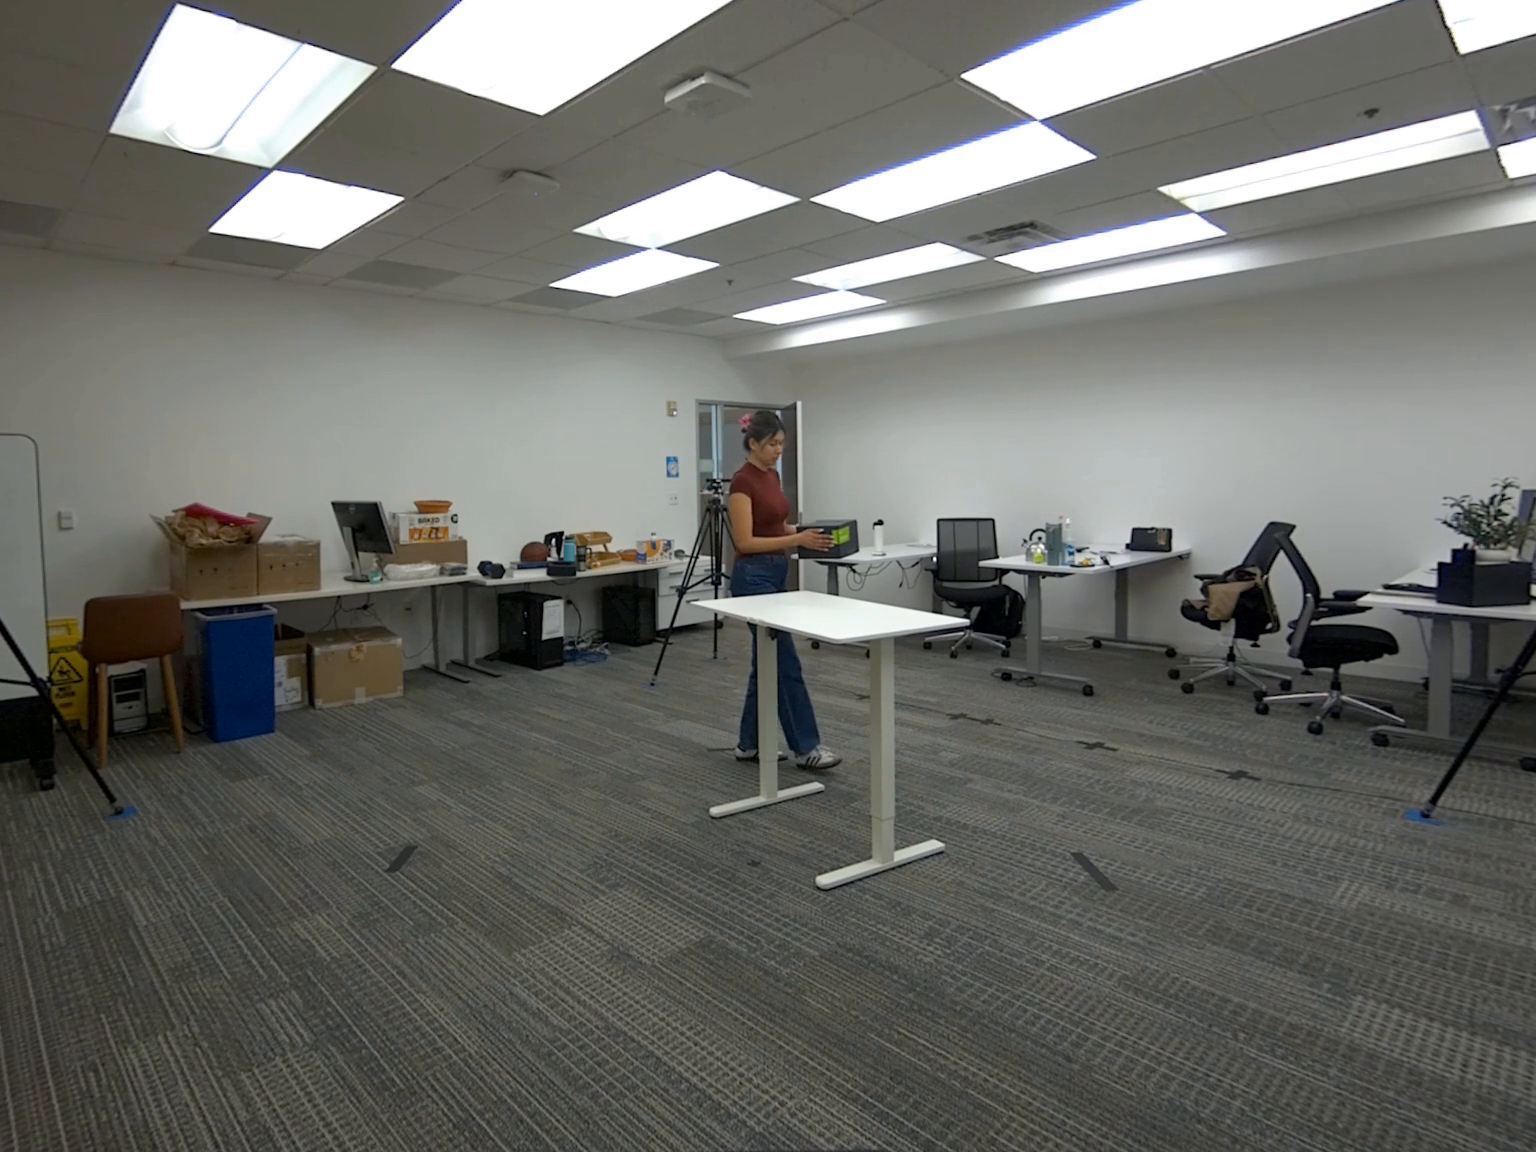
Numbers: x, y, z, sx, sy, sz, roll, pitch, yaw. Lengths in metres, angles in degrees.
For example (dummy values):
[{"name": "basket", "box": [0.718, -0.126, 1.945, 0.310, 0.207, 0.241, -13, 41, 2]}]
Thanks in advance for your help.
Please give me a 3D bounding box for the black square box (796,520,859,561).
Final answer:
[{"name": "black square box", "box": [0.292, -0.173, 4.031, 0.222, 0.155, 0.224, 0, 9, 29]}]
